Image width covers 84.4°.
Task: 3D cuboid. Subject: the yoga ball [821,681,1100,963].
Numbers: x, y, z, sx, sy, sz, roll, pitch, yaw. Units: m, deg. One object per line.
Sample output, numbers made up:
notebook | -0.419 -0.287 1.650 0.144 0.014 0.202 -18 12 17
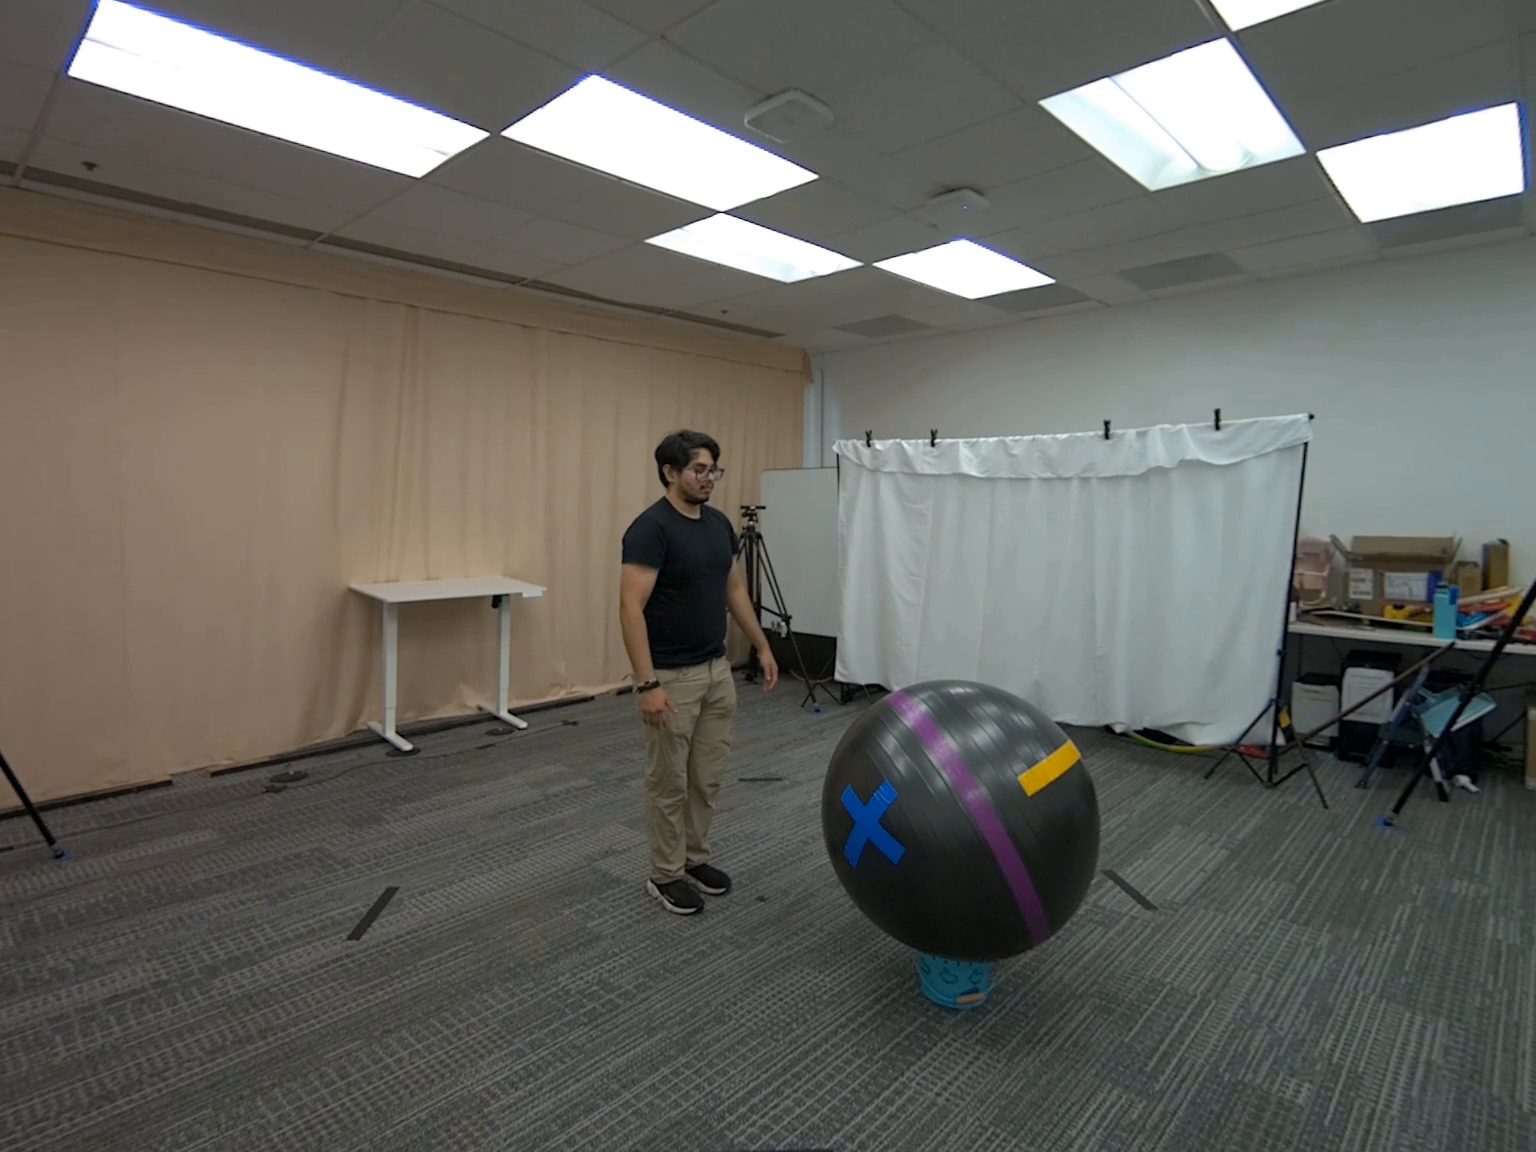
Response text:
yoga ball | 0.537 0.685 2.396 0.757 0.756 0.760 0 4 -2
